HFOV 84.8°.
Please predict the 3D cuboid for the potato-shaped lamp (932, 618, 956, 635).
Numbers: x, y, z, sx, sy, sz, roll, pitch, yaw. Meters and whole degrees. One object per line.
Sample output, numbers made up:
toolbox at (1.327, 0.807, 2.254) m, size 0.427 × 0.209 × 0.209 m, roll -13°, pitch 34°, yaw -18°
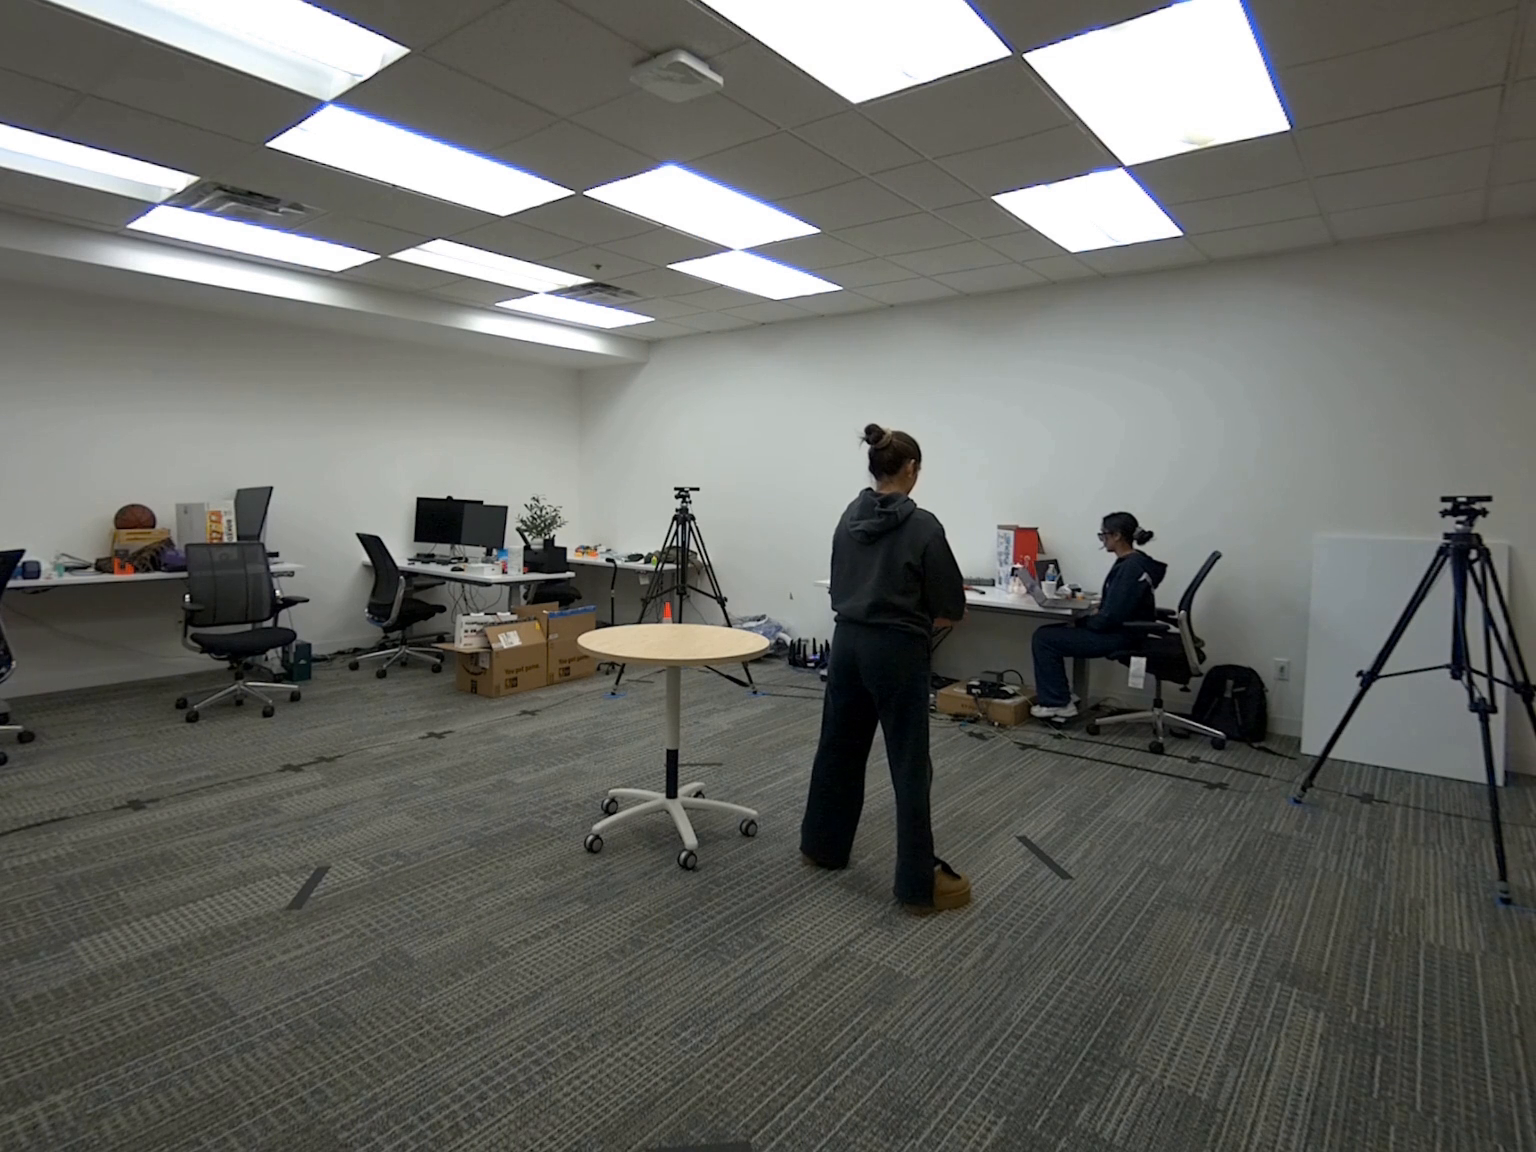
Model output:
potato-shaped lamp at (0.657, 0.084, 3.243) m, size 0.168 × 0.195 × 0.171 m, roll -17°, pitch 20°, yaw -42°
